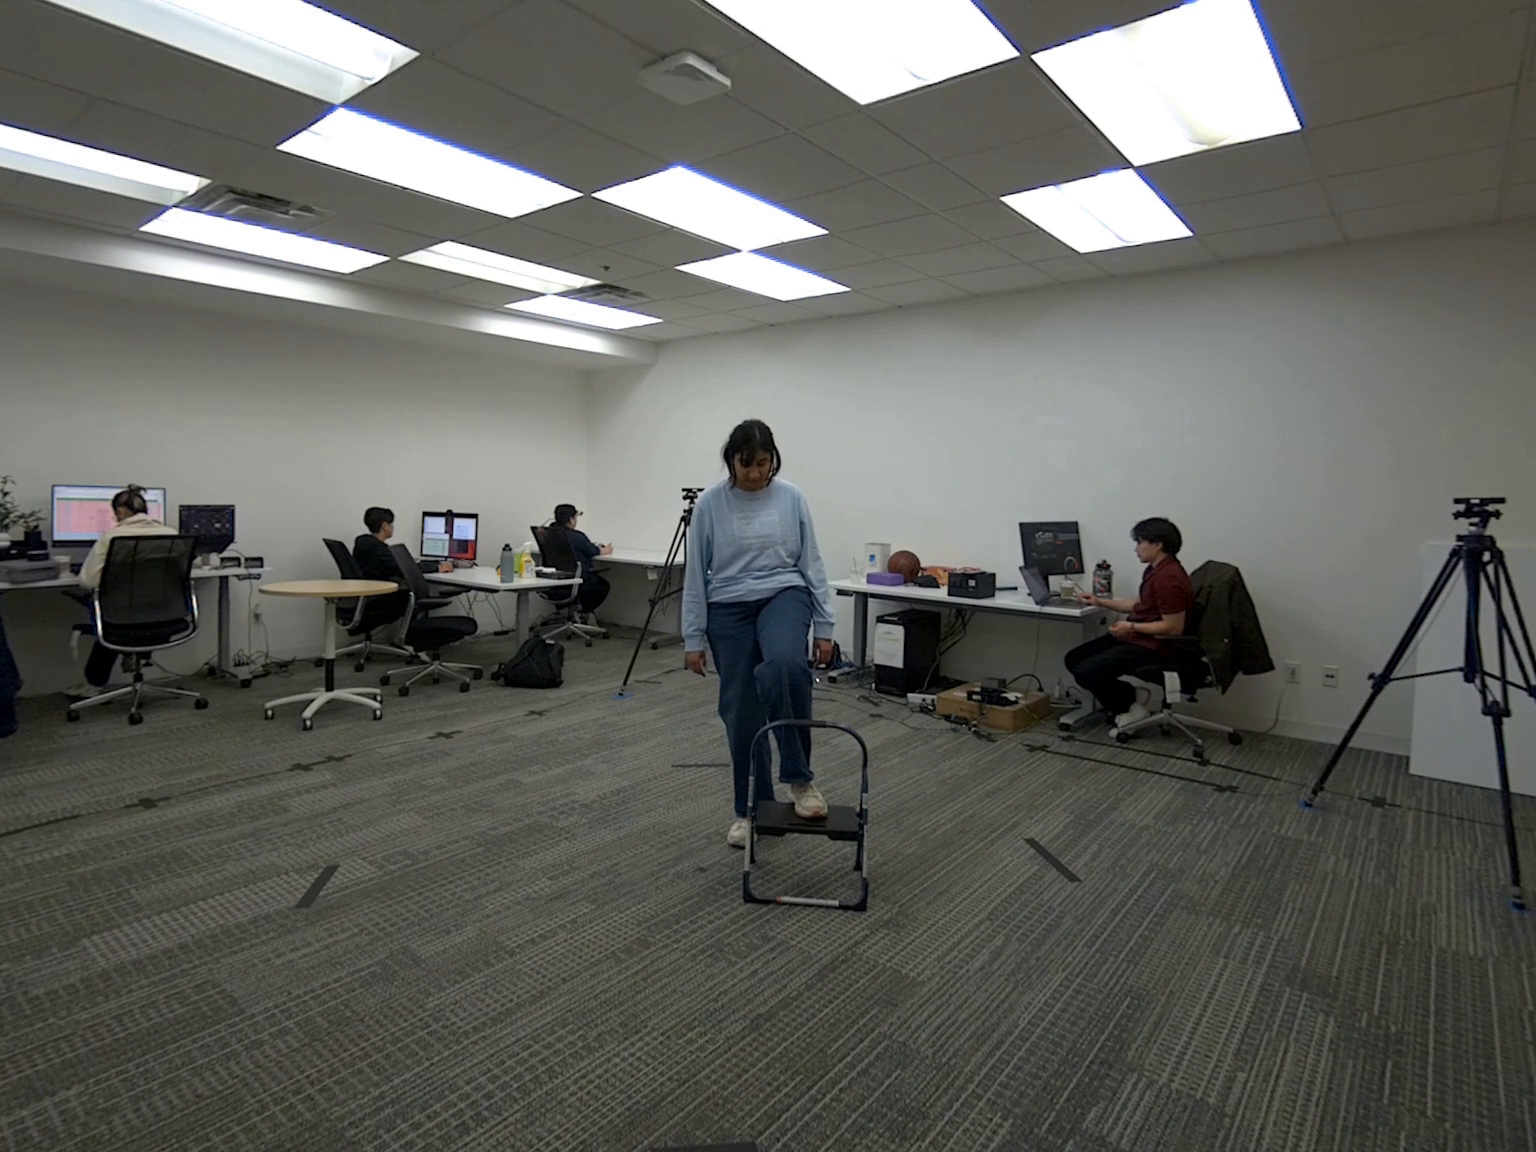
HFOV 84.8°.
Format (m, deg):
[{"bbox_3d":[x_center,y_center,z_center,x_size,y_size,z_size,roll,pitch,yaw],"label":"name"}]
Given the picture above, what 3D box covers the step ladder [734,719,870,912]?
[{"bbox_3d":[0.129,0.789,2.993,0.433,0.605,0.348,1,3,4],"label":"step ladder"}]
